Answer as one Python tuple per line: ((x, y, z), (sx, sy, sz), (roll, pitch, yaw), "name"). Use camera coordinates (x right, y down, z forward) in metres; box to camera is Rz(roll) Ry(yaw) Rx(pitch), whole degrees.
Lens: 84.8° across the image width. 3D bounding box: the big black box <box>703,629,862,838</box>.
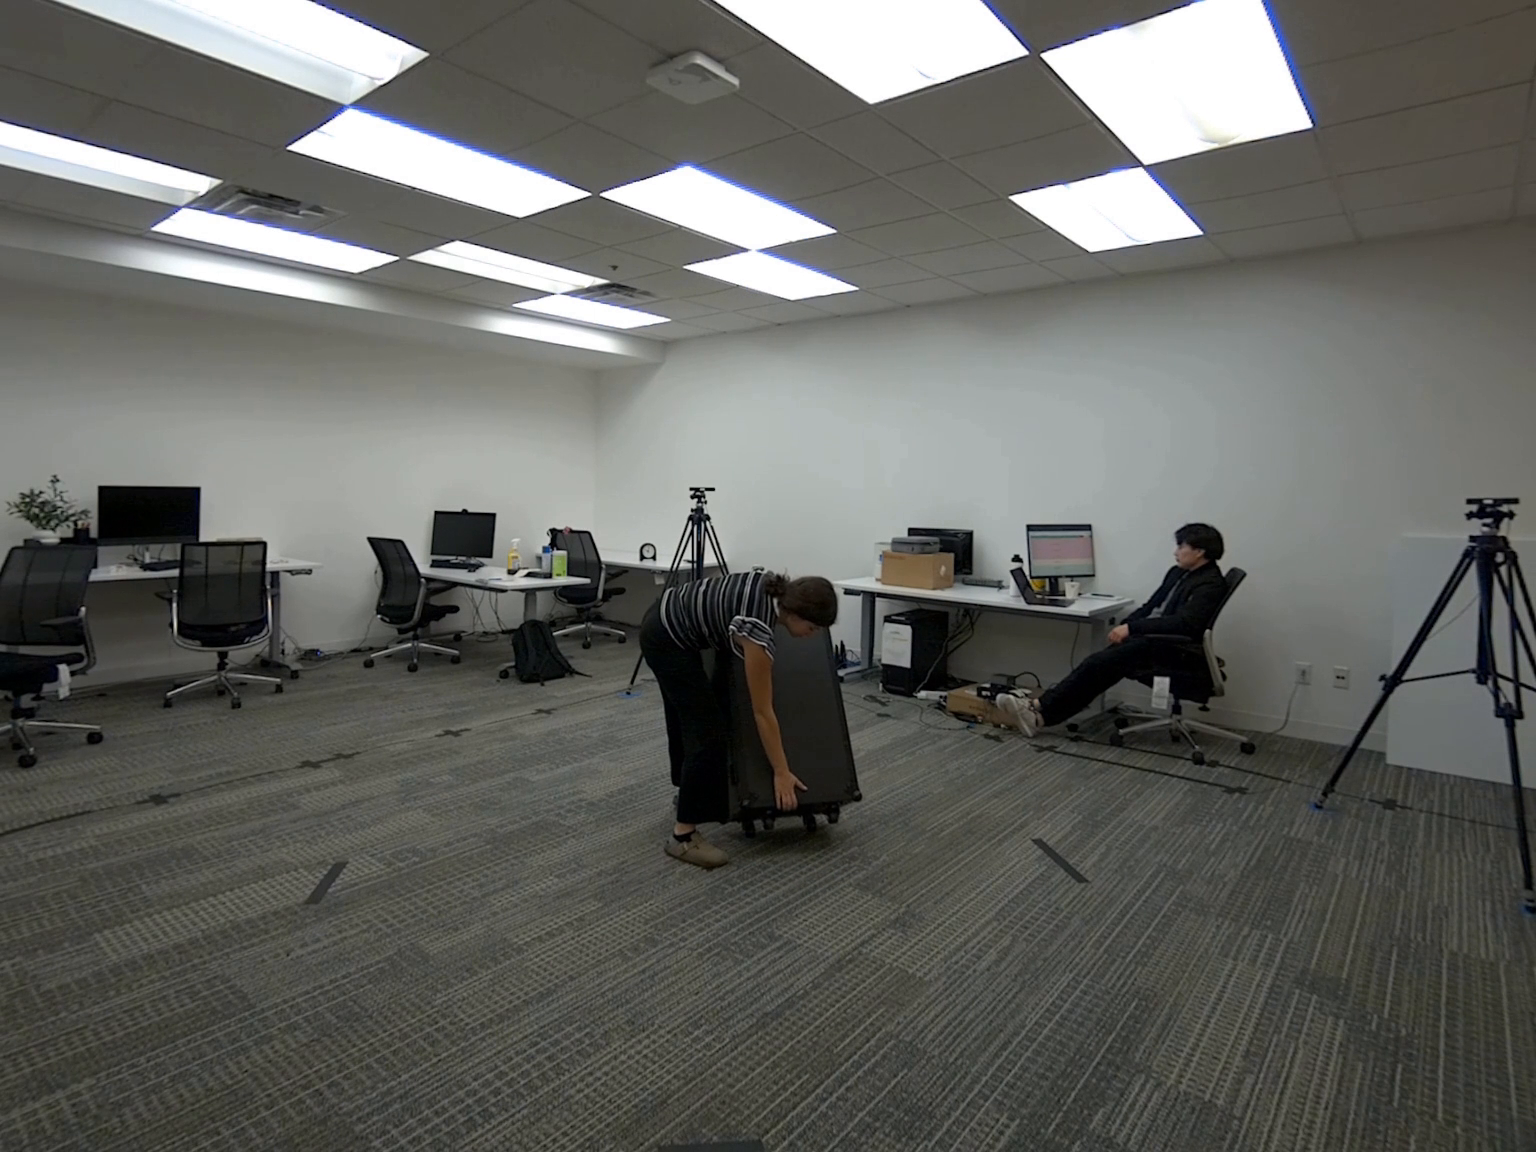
((0.023, 0.604, 3.527), (0.513, 0.883, 0.393), (-2, -25, -16), "big black box")
